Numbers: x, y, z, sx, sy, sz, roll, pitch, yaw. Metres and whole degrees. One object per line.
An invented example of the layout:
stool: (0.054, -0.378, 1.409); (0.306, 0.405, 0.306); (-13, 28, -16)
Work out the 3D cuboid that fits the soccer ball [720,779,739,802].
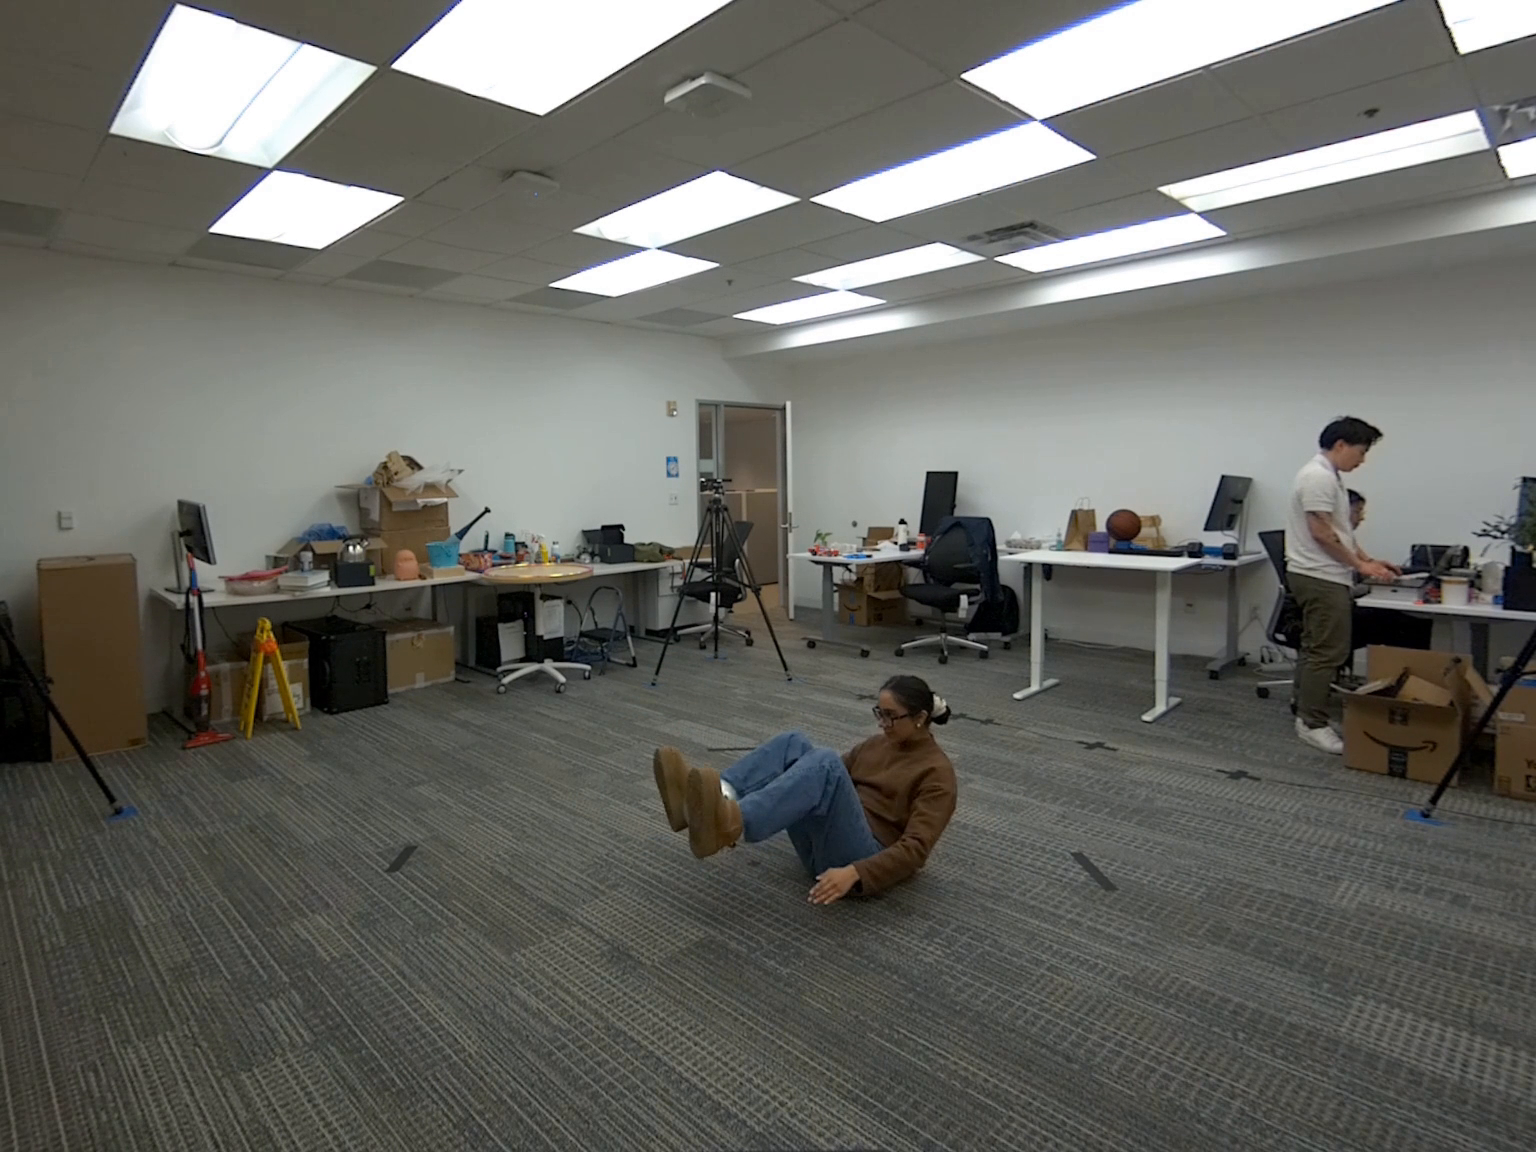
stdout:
soccer ball: (-0.160, 0.745, 2.746); (0.187, 0.187, 0.188); (-1, 5, -2)
